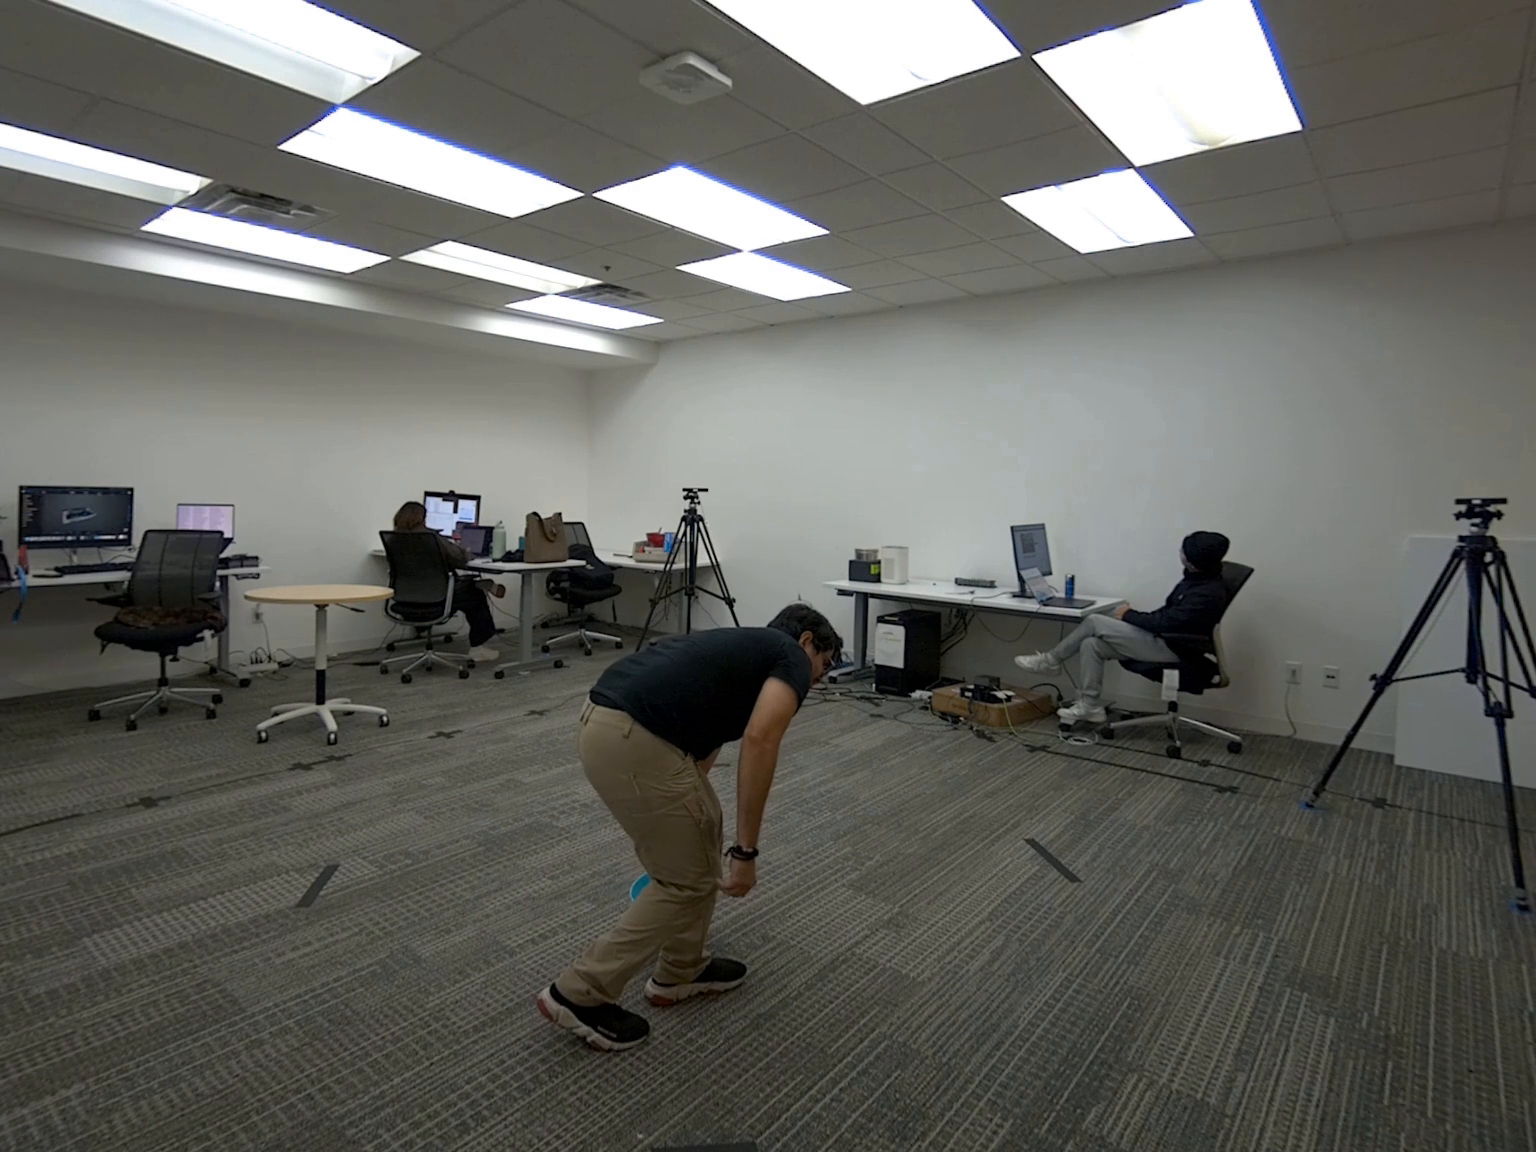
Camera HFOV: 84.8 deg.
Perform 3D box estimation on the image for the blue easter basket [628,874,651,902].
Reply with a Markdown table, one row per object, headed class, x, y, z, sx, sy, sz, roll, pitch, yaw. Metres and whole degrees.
| class | x | y | z | sx | sy | sz | roll | pitch | yaw |
| --- | --- | --- | --- | --- | --- | --- | --- | --- | --- |
| blue easter basket | -0.308 | 1.022 | 2.619 | 0.244 | 0.154 | 0.247 | -7 | 13 | 0 |
